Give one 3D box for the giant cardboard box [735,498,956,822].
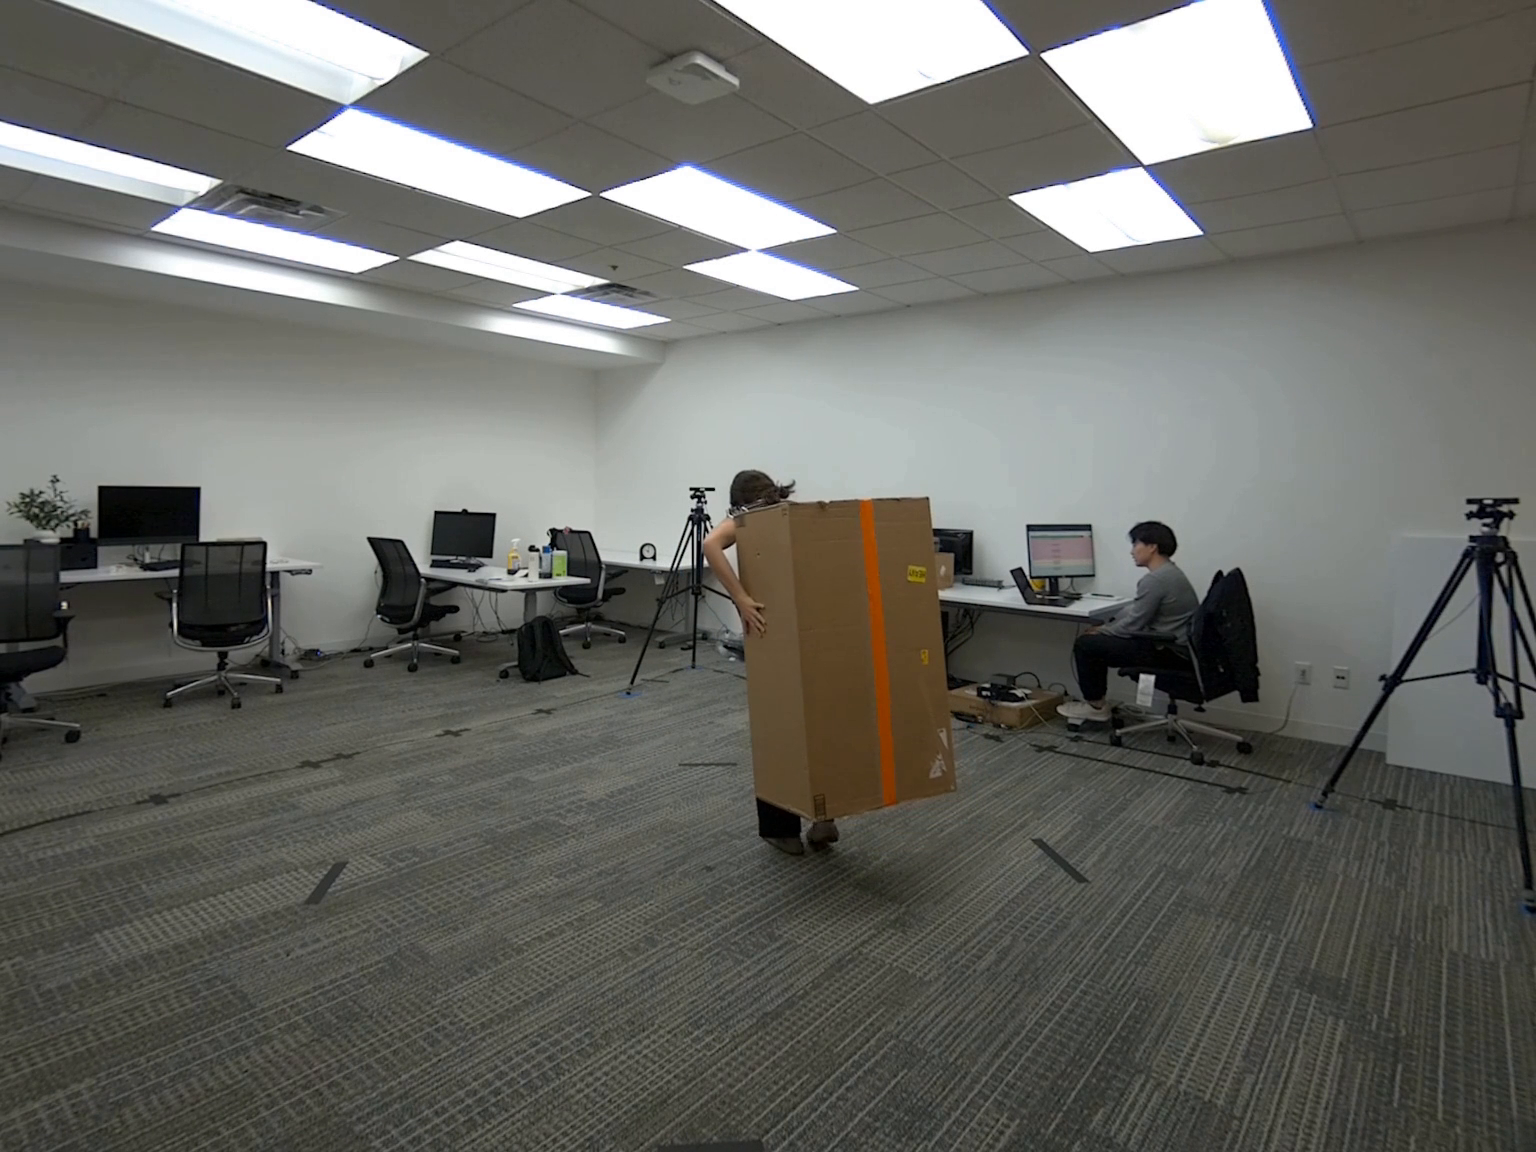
[{"bbox_3d":[0.260,0.258,3.020,0.564,1.029,0.435,-4,-3,-27],"label":"giant cardboard box"}]
